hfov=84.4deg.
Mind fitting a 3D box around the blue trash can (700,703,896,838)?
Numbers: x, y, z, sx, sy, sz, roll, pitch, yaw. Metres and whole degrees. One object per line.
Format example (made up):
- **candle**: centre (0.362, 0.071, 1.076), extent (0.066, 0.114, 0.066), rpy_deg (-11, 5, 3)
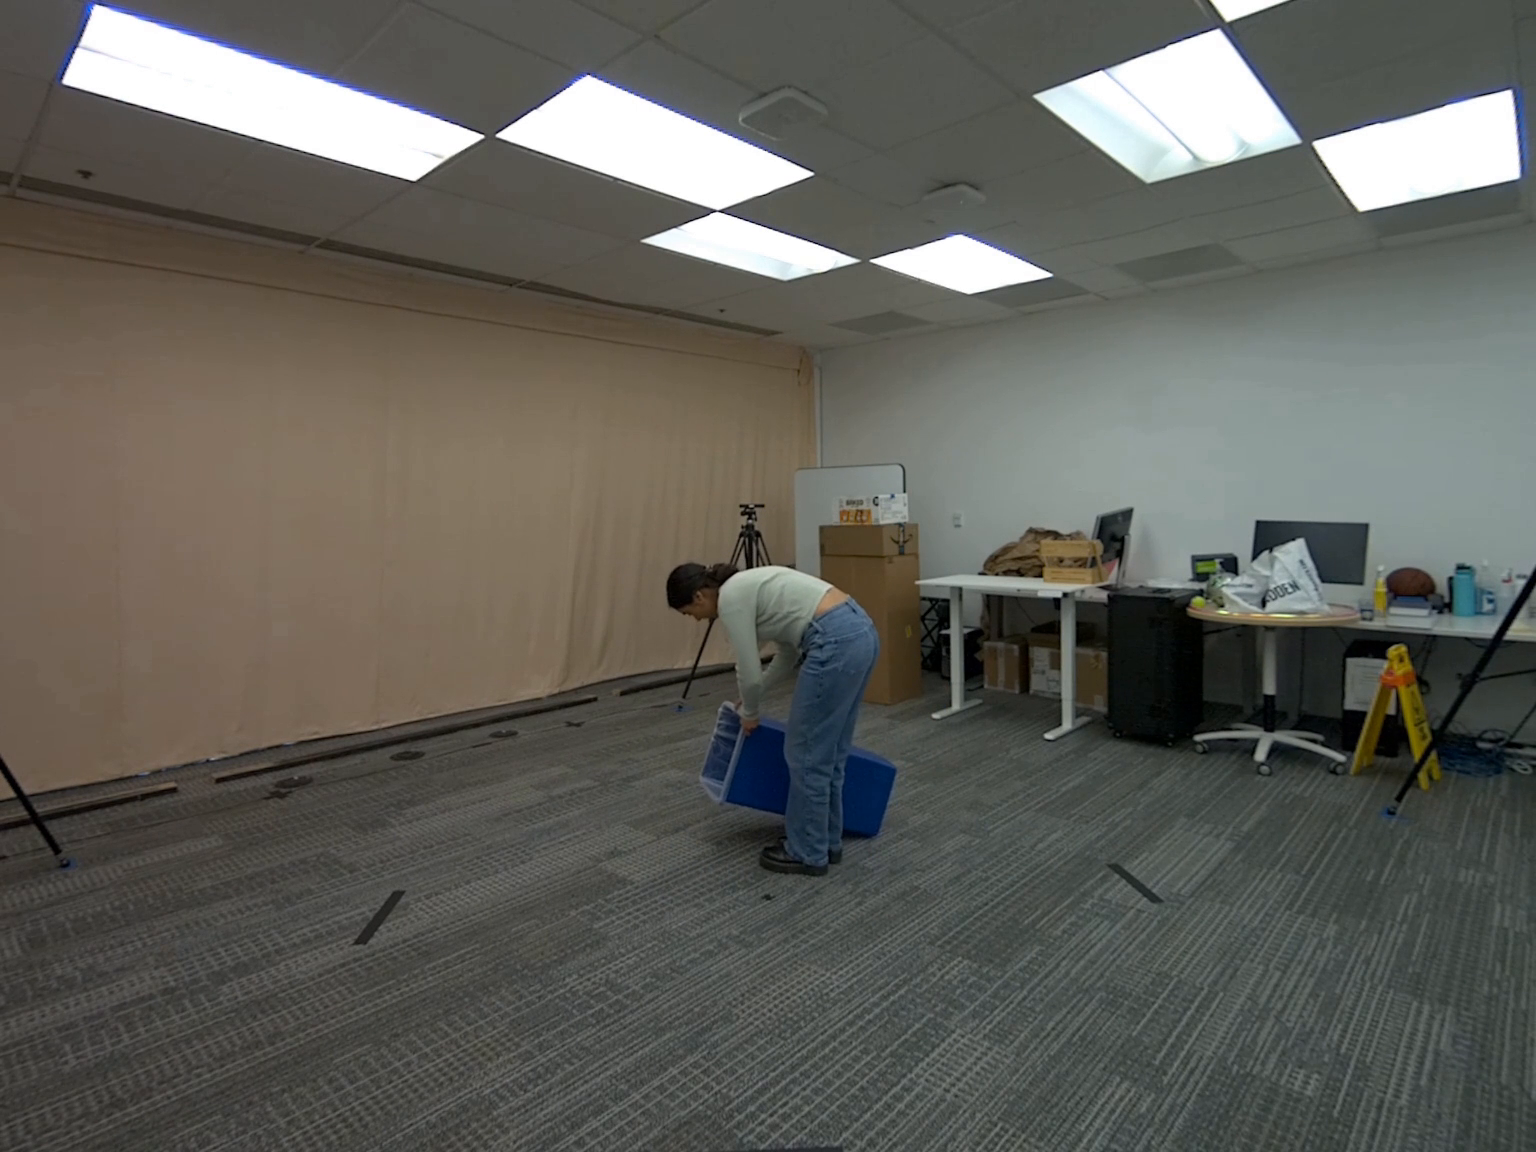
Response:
- **blue trash can**: centre (0.136, 0.808, 3.548), extent (0.702, 0.378, 0.380), rpy_deg (16, -3, -14)
